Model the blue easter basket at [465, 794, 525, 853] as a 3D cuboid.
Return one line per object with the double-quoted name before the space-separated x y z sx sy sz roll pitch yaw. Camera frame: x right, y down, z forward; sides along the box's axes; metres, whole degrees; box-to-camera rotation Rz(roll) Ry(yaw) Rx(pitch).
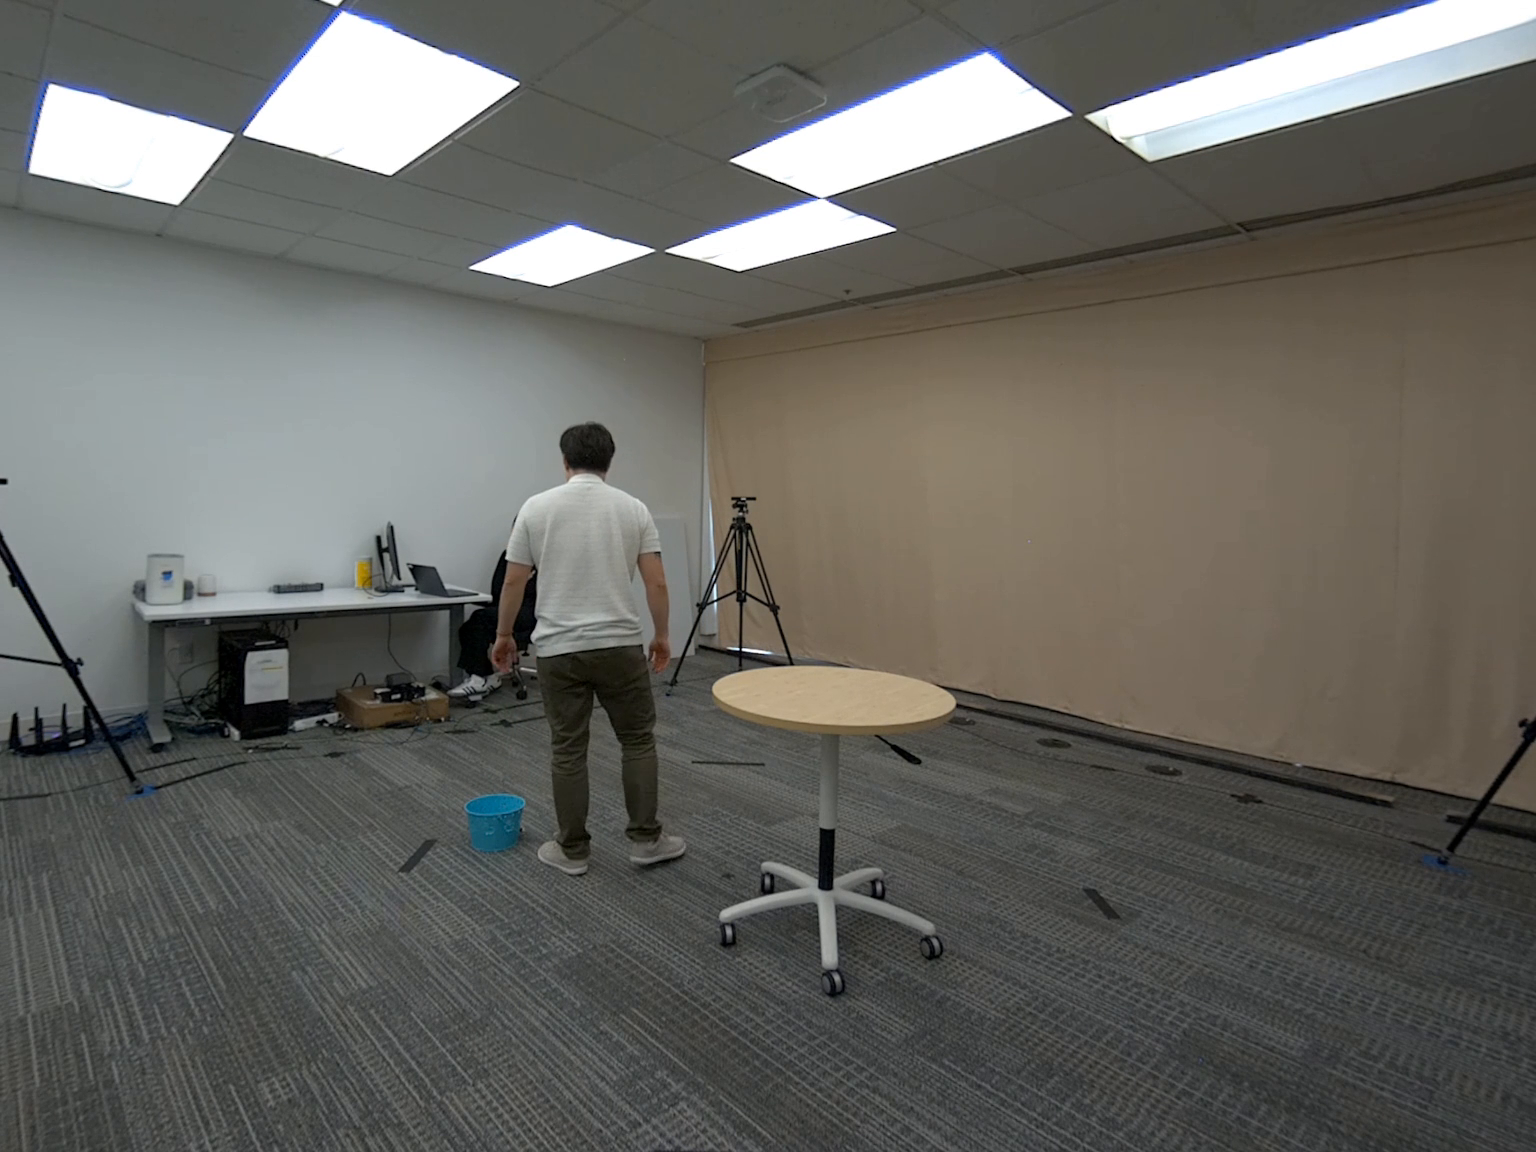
"blue easter basket" -1.094 0.986 3.356 0.243 0.155 0.244 2 5 -2
